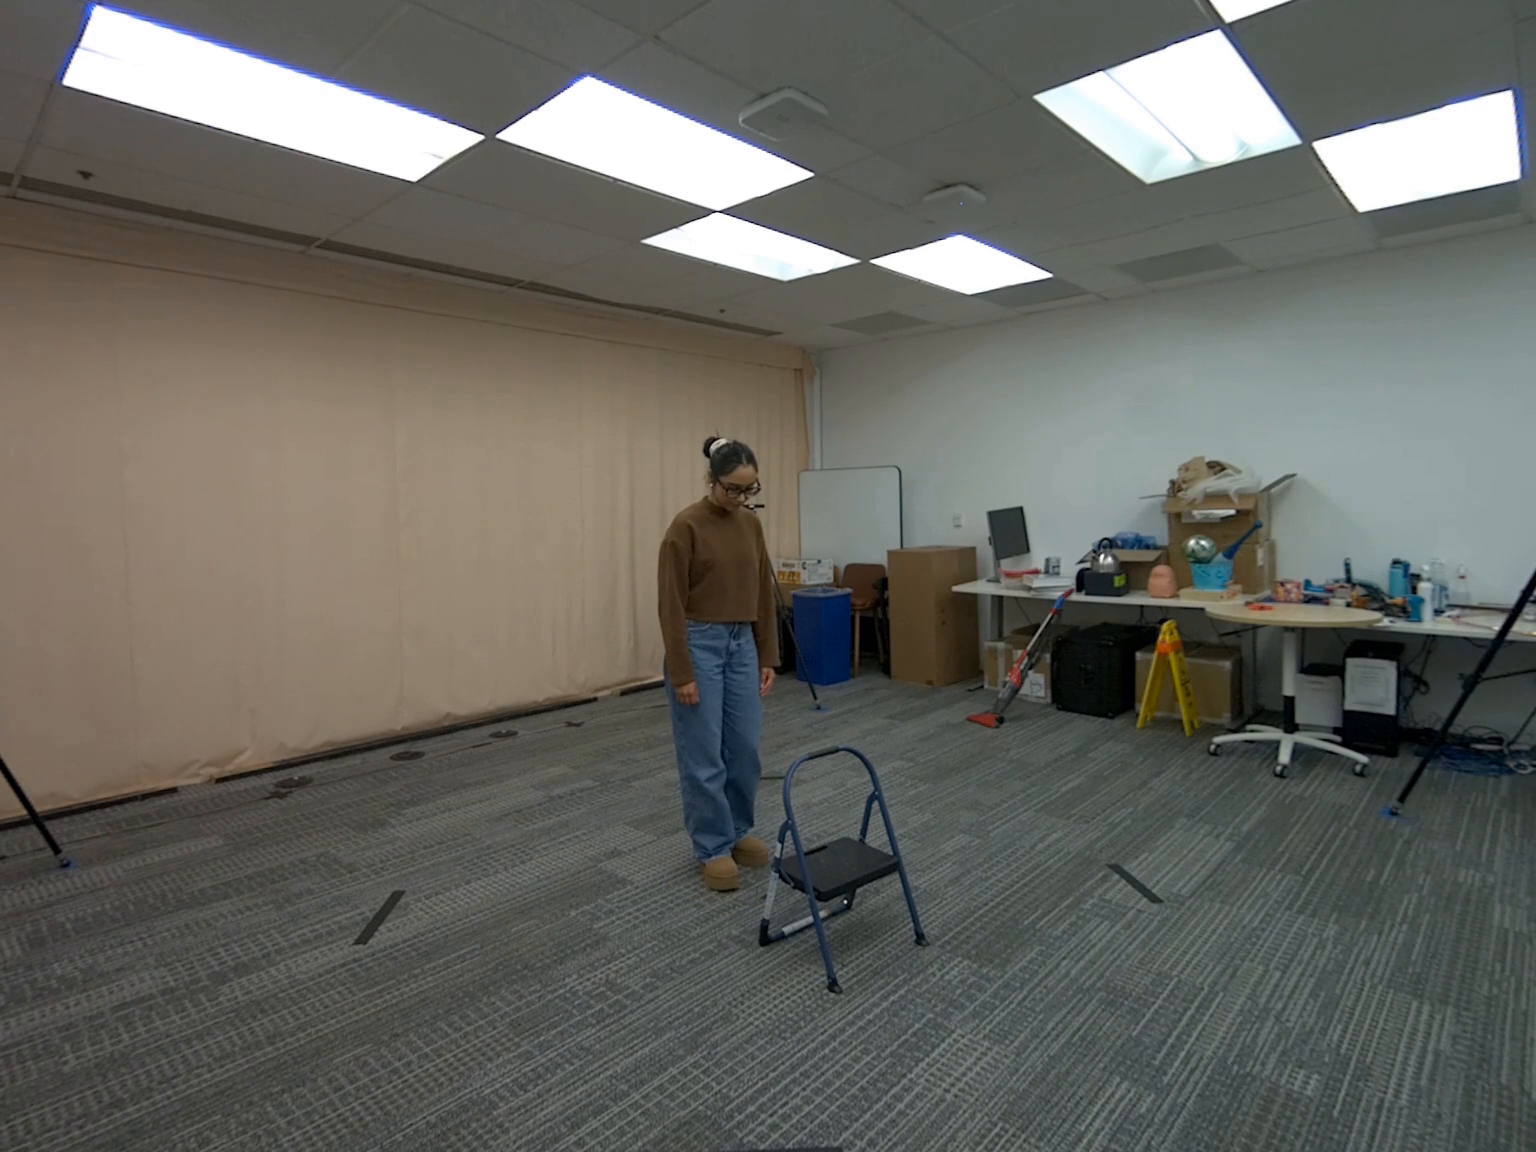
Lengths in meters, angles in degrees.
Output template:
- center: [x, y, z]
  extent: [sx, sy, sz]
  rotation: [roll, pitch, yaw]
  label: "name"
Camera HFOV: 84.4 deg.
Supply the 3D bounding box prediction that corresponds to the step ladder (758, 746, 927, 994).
- center: [0.237, 0.860, 2.640]
  extent: [0.418, 0.605, 0.360]
  rotation: [-4, 4, -40]
  label: "step ladder"
